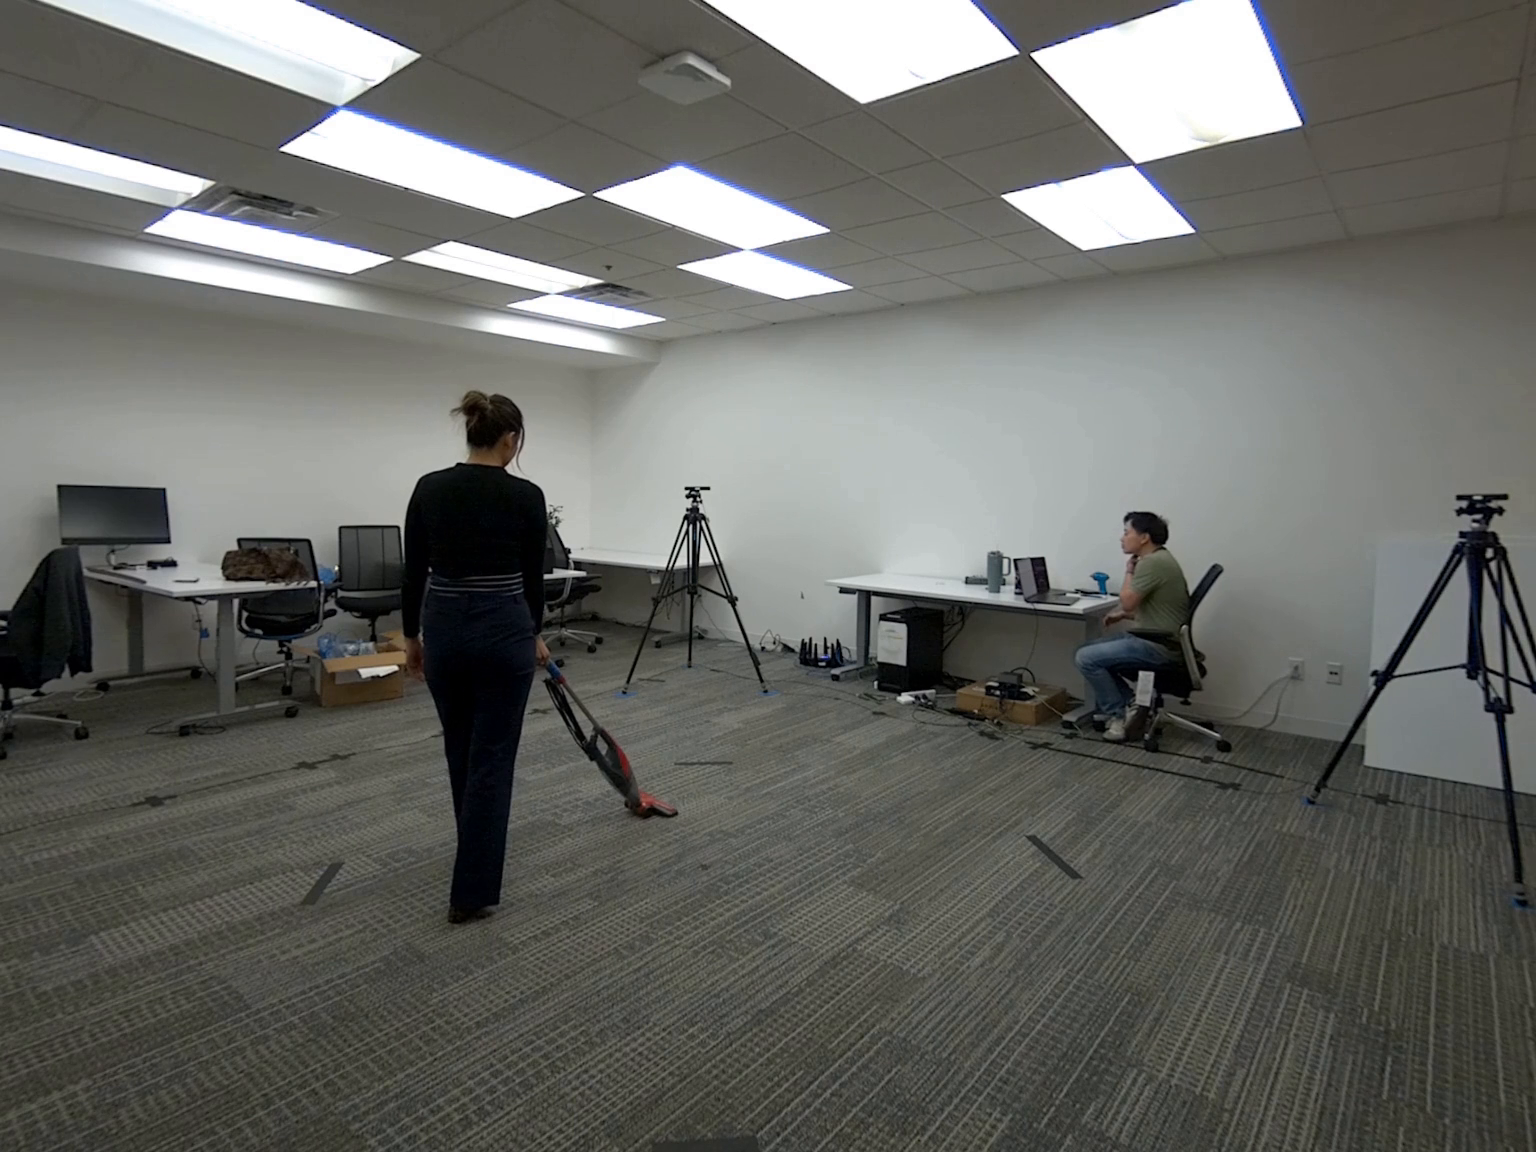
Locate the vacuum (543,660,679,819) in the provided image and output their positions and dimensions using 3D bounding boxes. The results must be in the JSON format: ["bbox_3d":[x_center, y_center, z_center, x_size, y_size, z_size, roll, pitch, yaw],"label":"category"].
[{"bbox_3d":[-0.702,0.633,3.353,0.261,1.010,0.145,6,48,36],"label":"vacuum"}]
